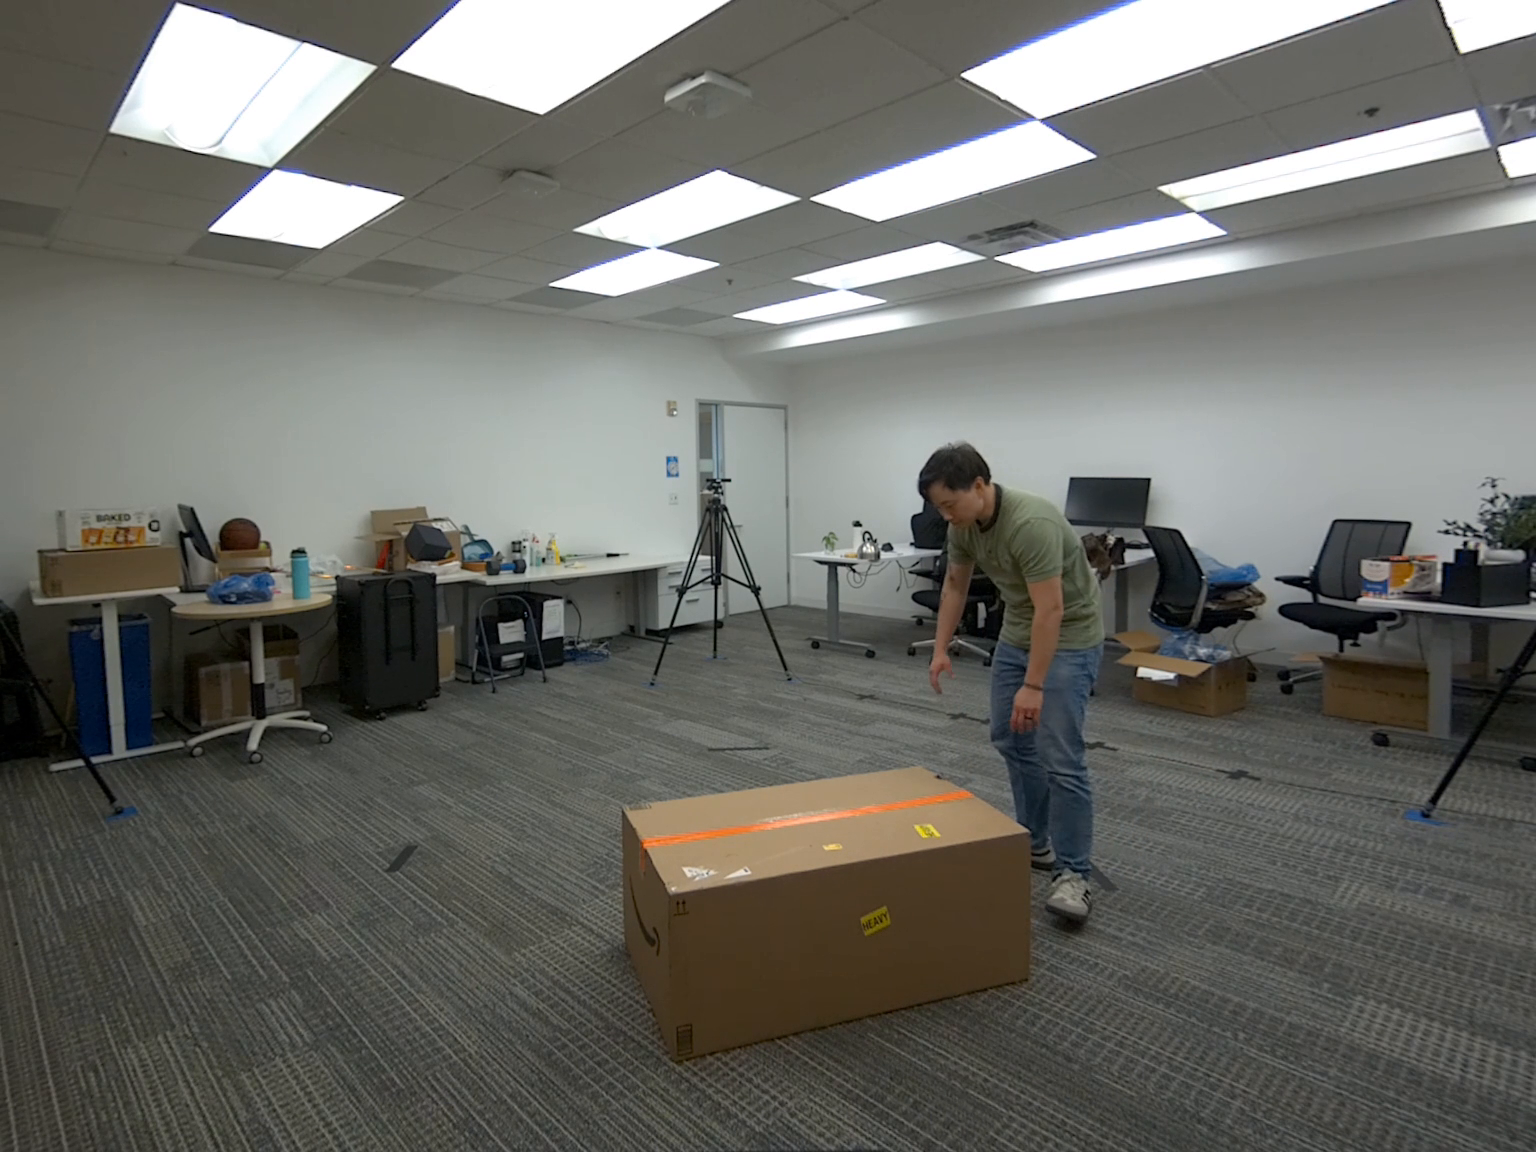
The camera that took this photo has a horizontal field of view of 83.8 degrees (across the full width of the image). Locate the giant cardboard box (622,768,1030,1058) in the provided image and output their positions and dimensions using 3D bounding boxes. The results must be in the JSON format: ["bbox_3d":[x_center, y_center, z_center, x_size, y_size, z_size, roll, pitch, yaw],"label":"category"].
[{"bbox_3d":[0.142,0.898,2.462,1.009,0.424,0.590,-3,7,-19],"label":"giant cardboard box"}]
